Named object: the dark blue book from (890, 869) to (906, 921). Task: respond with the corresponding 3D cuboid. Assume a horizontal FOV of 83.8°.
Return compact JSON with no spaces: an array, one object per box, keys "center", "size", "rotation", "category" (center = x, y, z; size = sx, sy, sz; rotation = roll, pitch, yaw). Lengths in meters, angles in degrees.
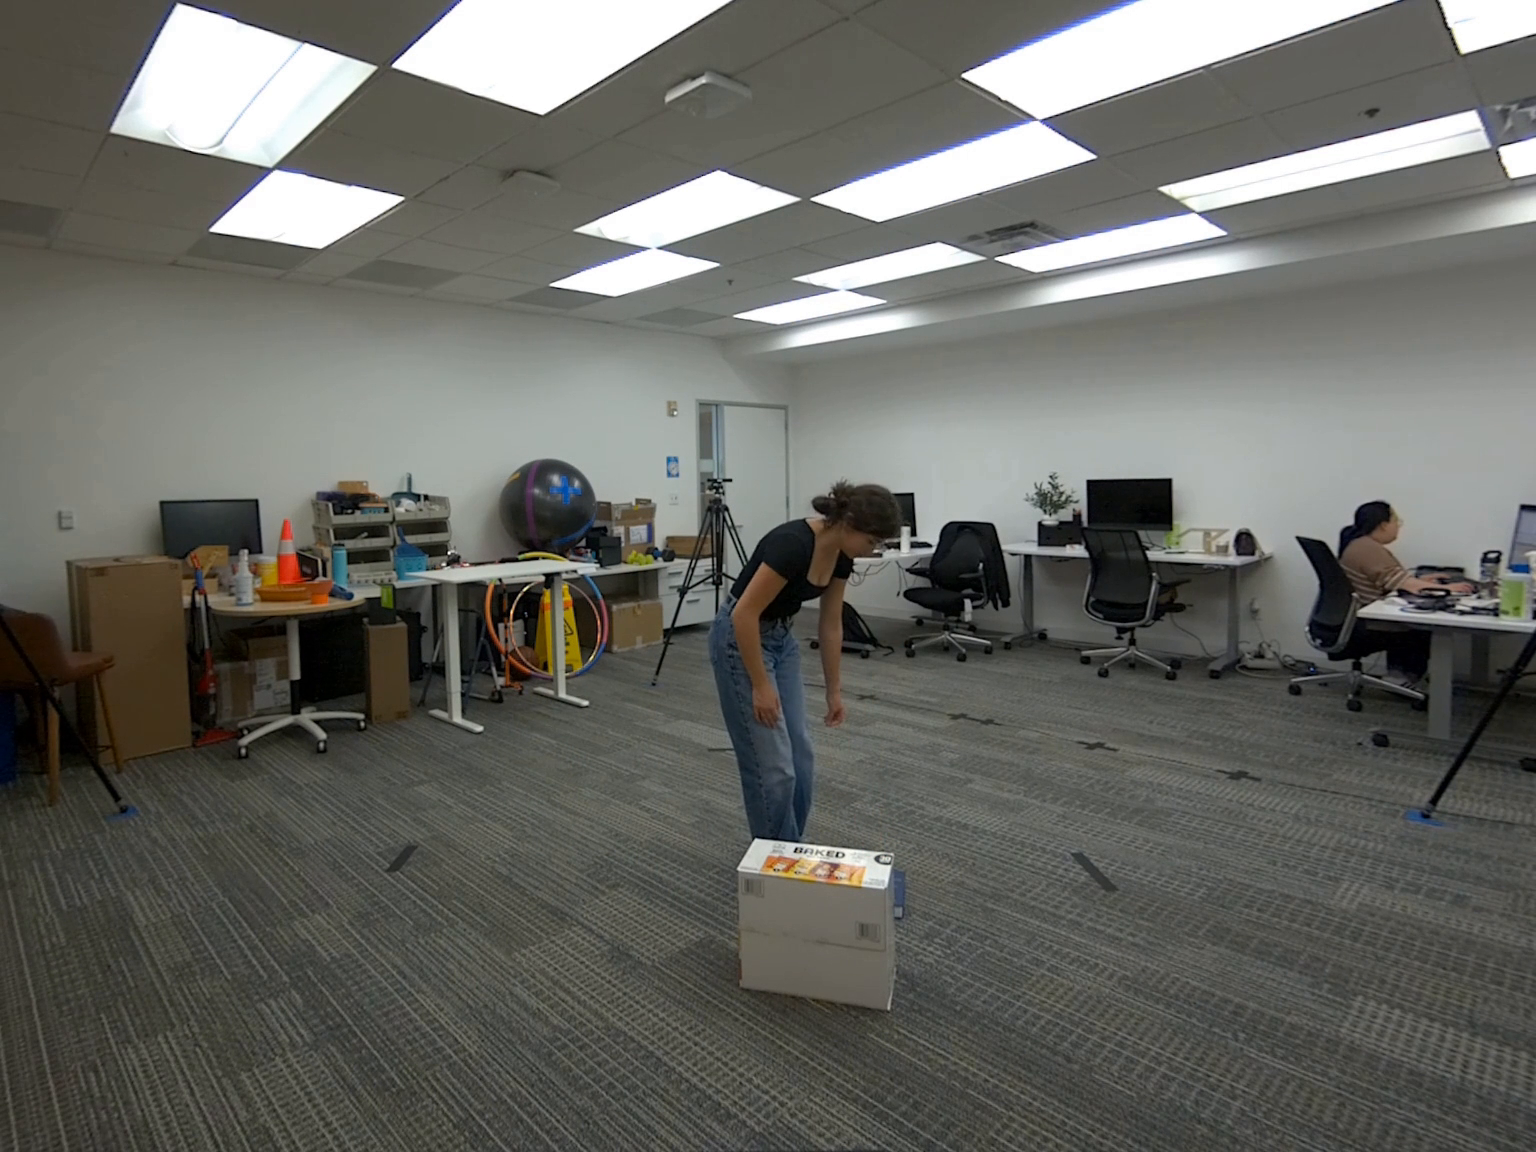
[{"center":[0.370,1.038,2.830],"size":[0.165,0.045,0.243],"rotation":[2,7,12],"category":"dark blue book"}]
